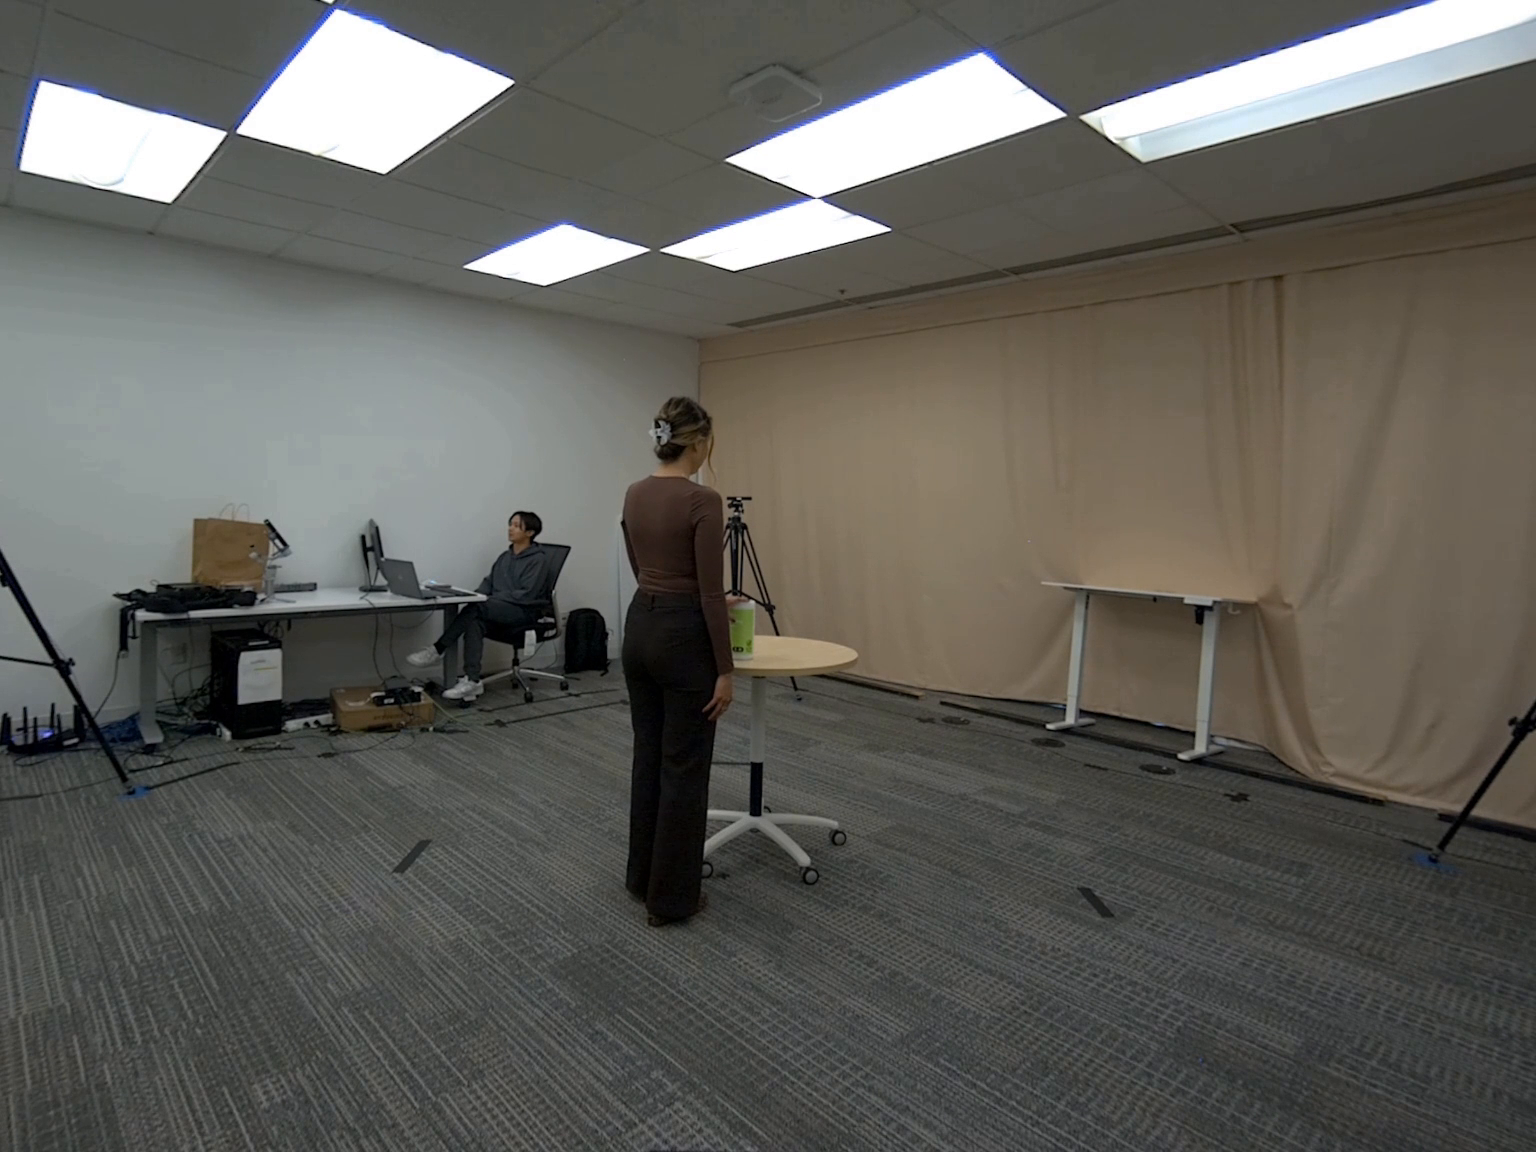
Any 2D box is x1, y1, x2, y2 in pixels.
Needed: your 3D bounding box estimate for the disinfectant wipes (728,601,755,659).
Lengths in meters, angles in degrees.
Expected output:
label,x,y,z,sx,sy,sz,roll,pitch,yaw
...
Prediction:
label,x,y,z,sx,sy,sz,roll,pitch,yaw
disinfectant wipes,-0.109,0.201,3.125,0.118,0.217,0.118,0,4,-1
